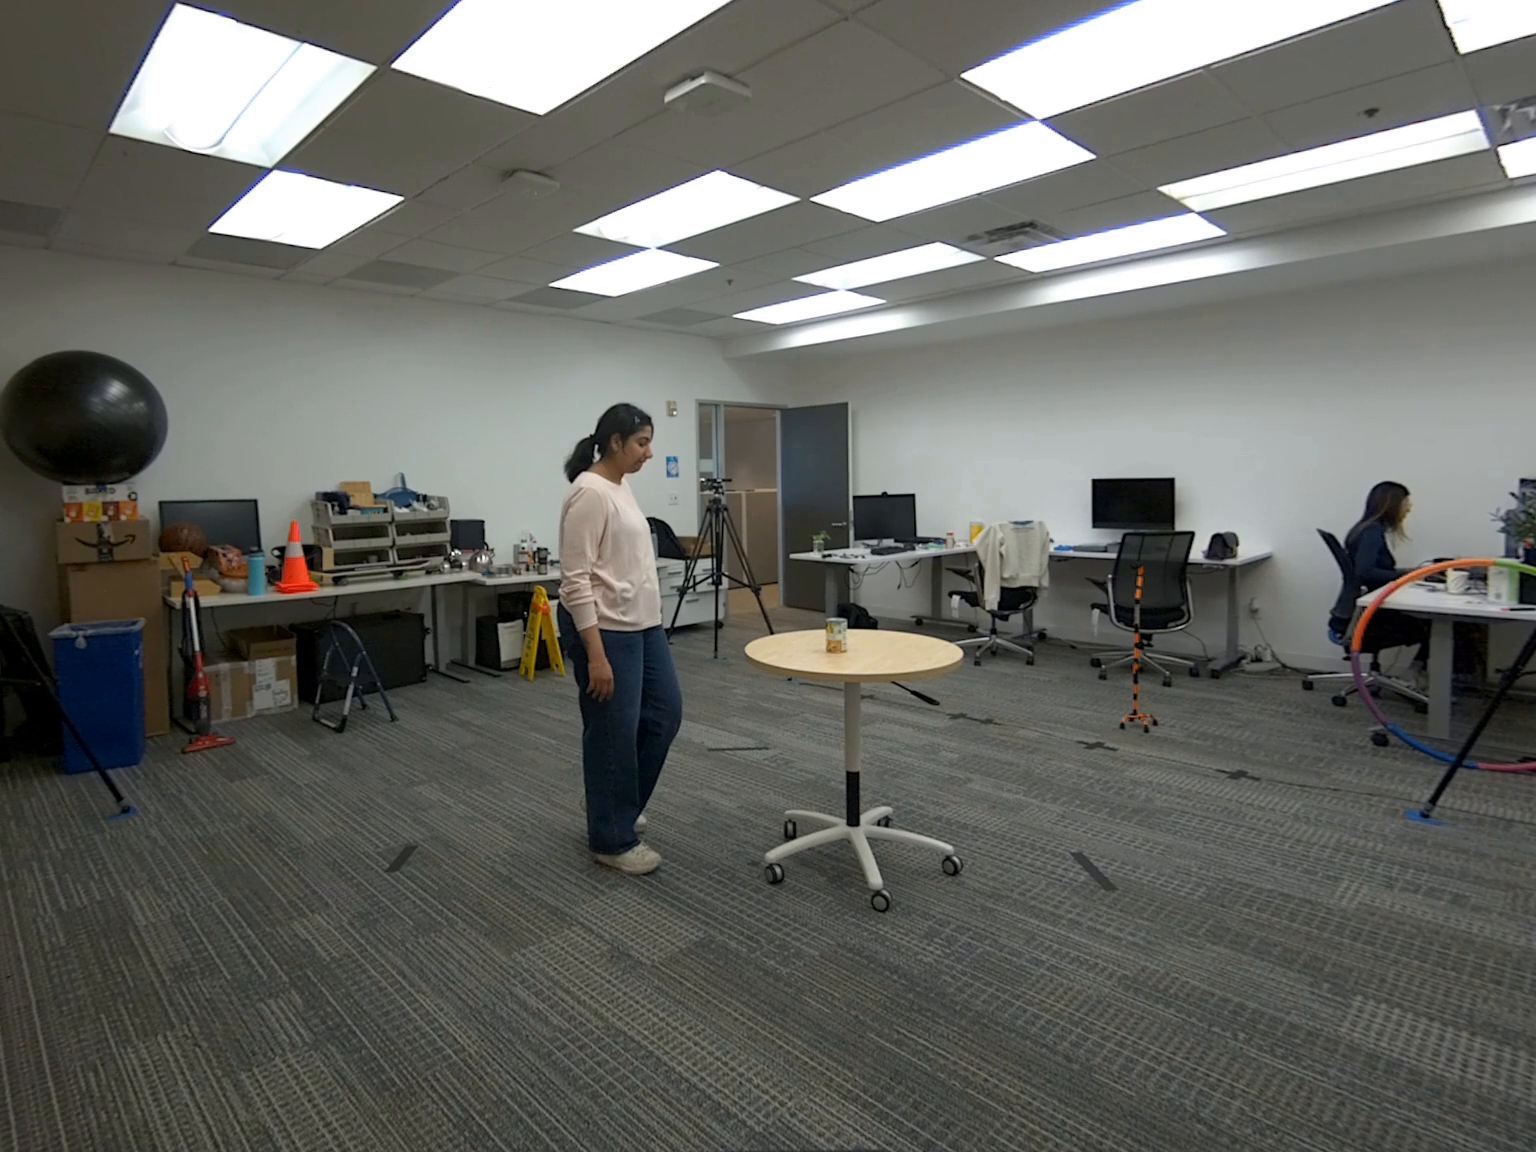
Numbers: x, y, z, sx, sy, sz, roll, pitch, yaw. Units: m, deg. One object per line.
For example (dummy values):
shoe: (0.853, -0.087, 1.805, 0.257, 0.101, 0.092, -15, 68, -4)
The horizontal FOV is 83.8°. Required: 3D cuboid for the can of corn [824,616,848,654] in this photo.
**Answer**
can of corn: (0.239, 0.210, 3.006, 0.074, 0.110, 0.075, -2, 6, -1)
